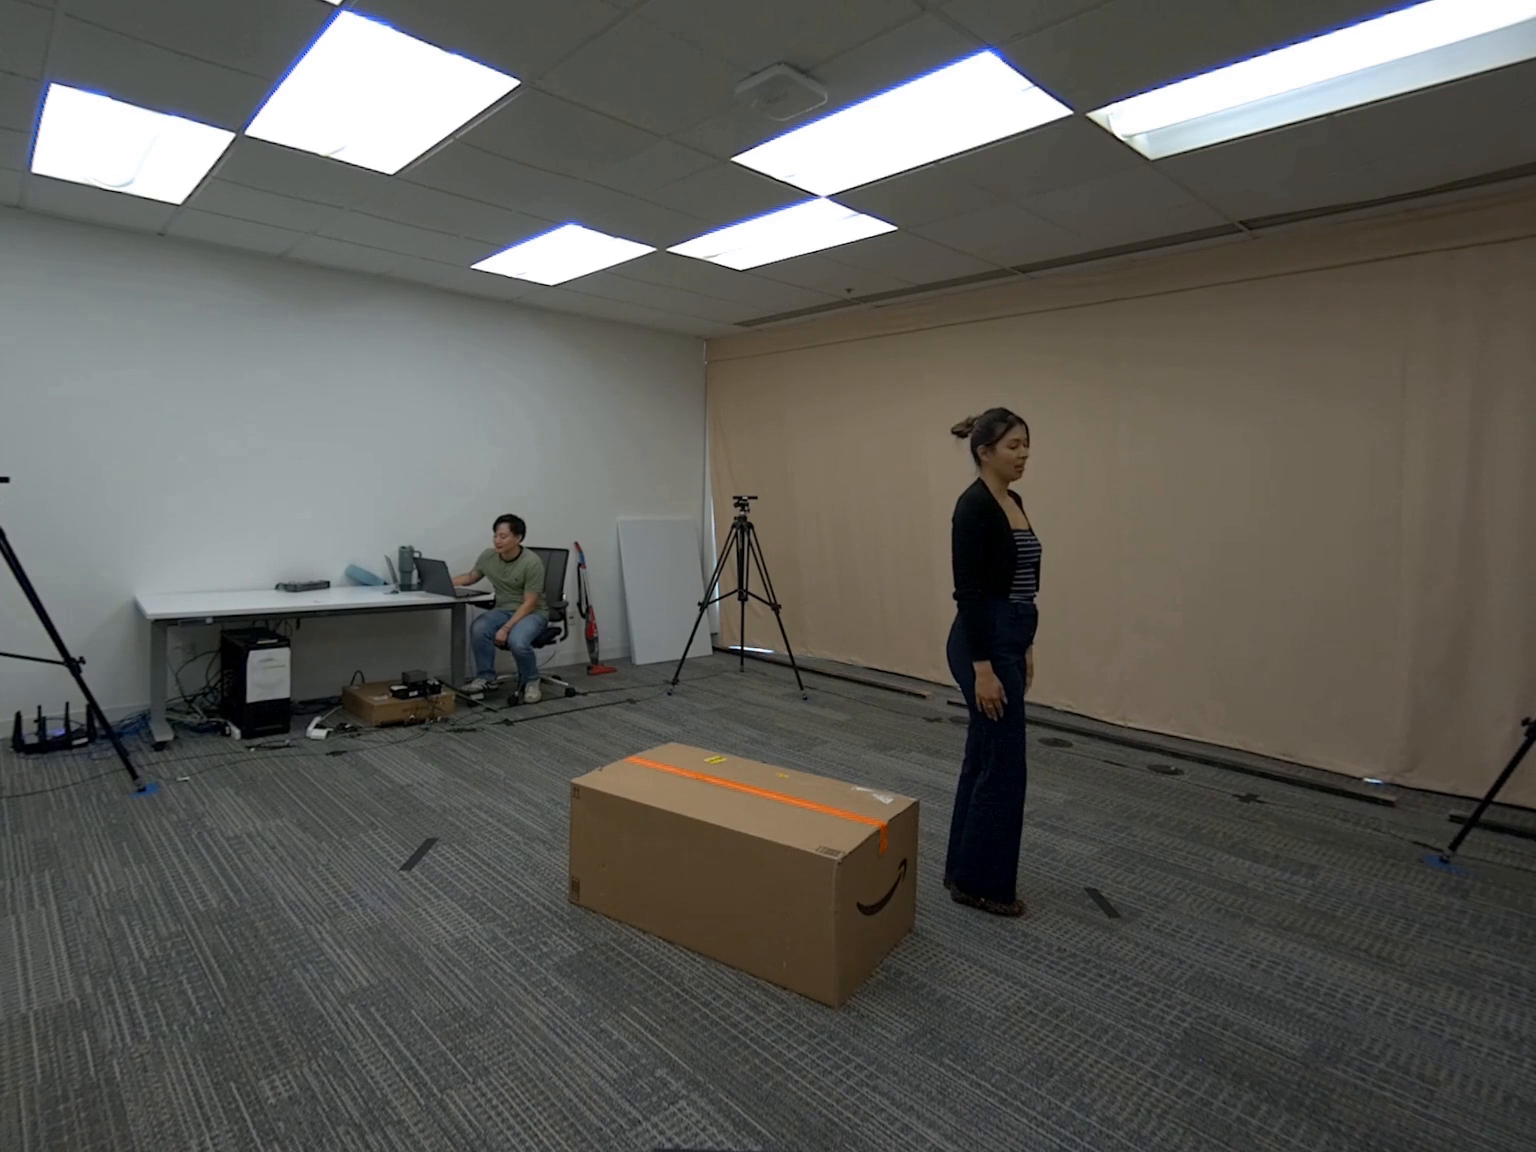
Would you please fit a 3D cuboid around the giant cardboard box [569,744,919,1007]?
[{"bbox_3d":[-0.099,0.919,2.799,1.050,0.425,0.566,5,6,33],"label":"giant cardboard box"}]
